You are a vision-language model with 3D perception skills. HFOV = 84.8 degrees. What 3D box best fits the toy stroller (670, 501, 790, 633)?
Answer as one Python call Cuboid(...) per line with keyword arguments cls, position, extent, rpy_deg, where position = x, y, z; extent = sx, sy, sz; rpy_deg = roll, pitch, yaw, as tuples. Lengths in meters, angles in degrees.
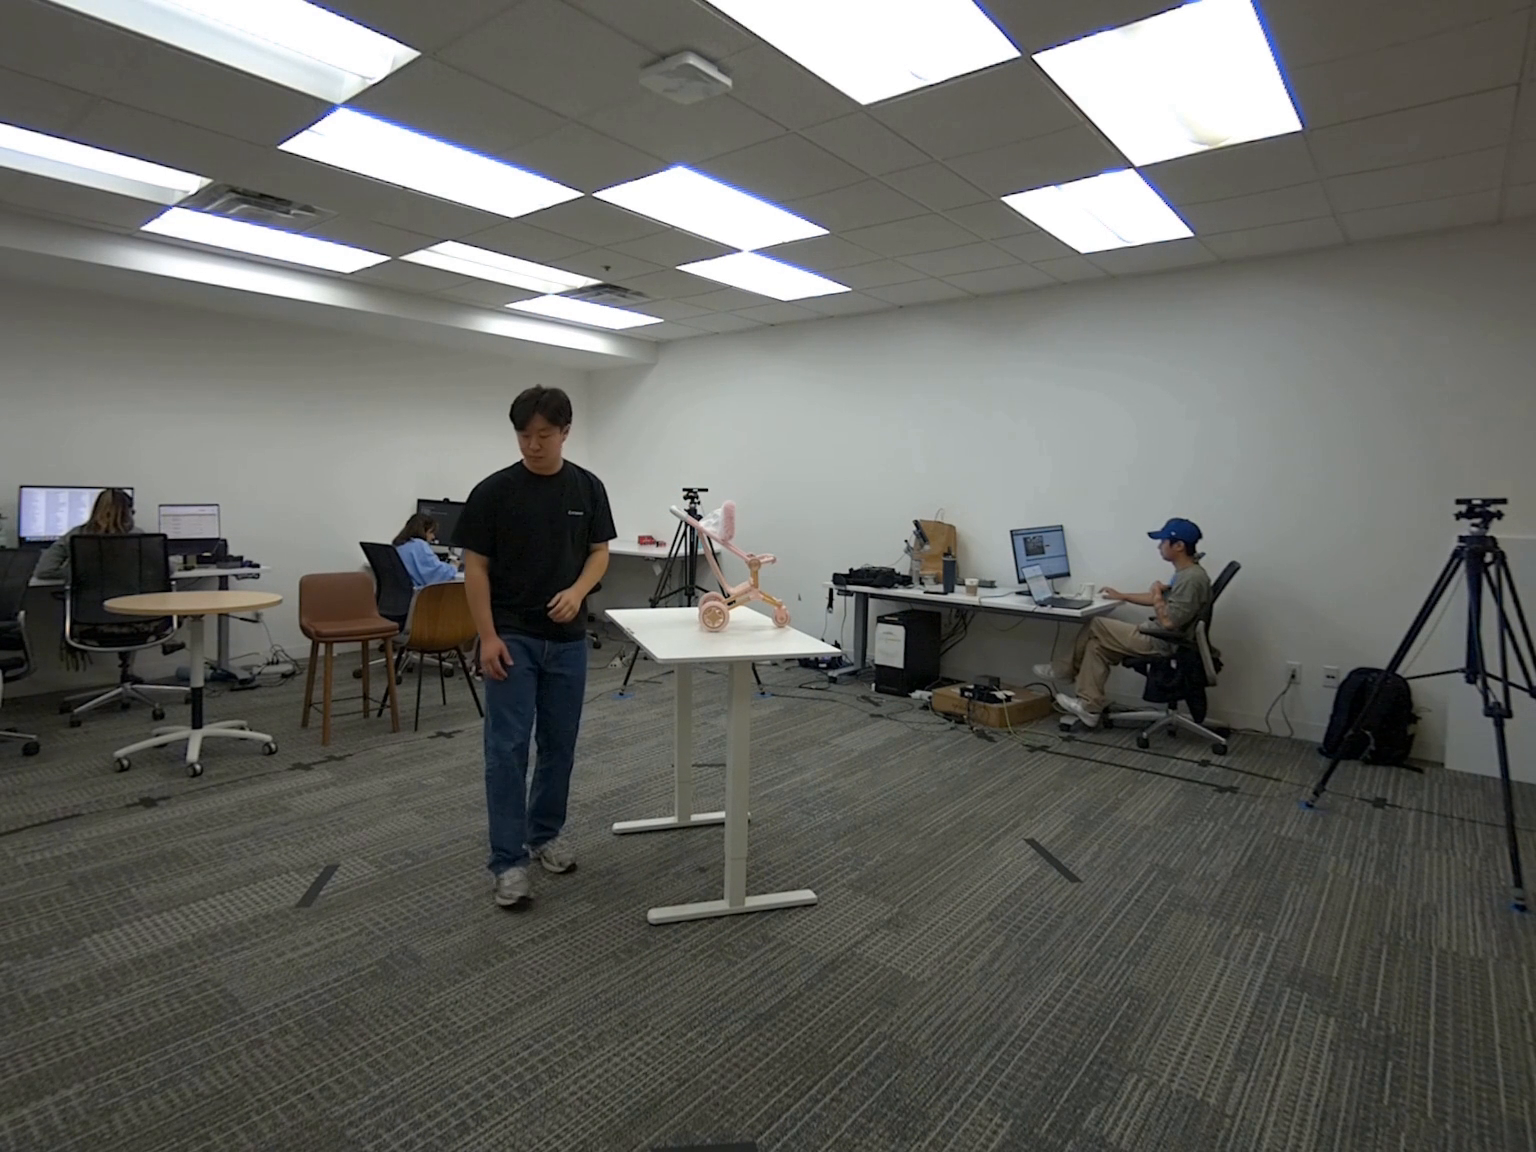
Cuboid(cls="toy stroller", position=(-0.138, -0.036, 3.119), extent=(0.342, 0.534, 0.281), rpy_deg=(-13, 2, 3))
